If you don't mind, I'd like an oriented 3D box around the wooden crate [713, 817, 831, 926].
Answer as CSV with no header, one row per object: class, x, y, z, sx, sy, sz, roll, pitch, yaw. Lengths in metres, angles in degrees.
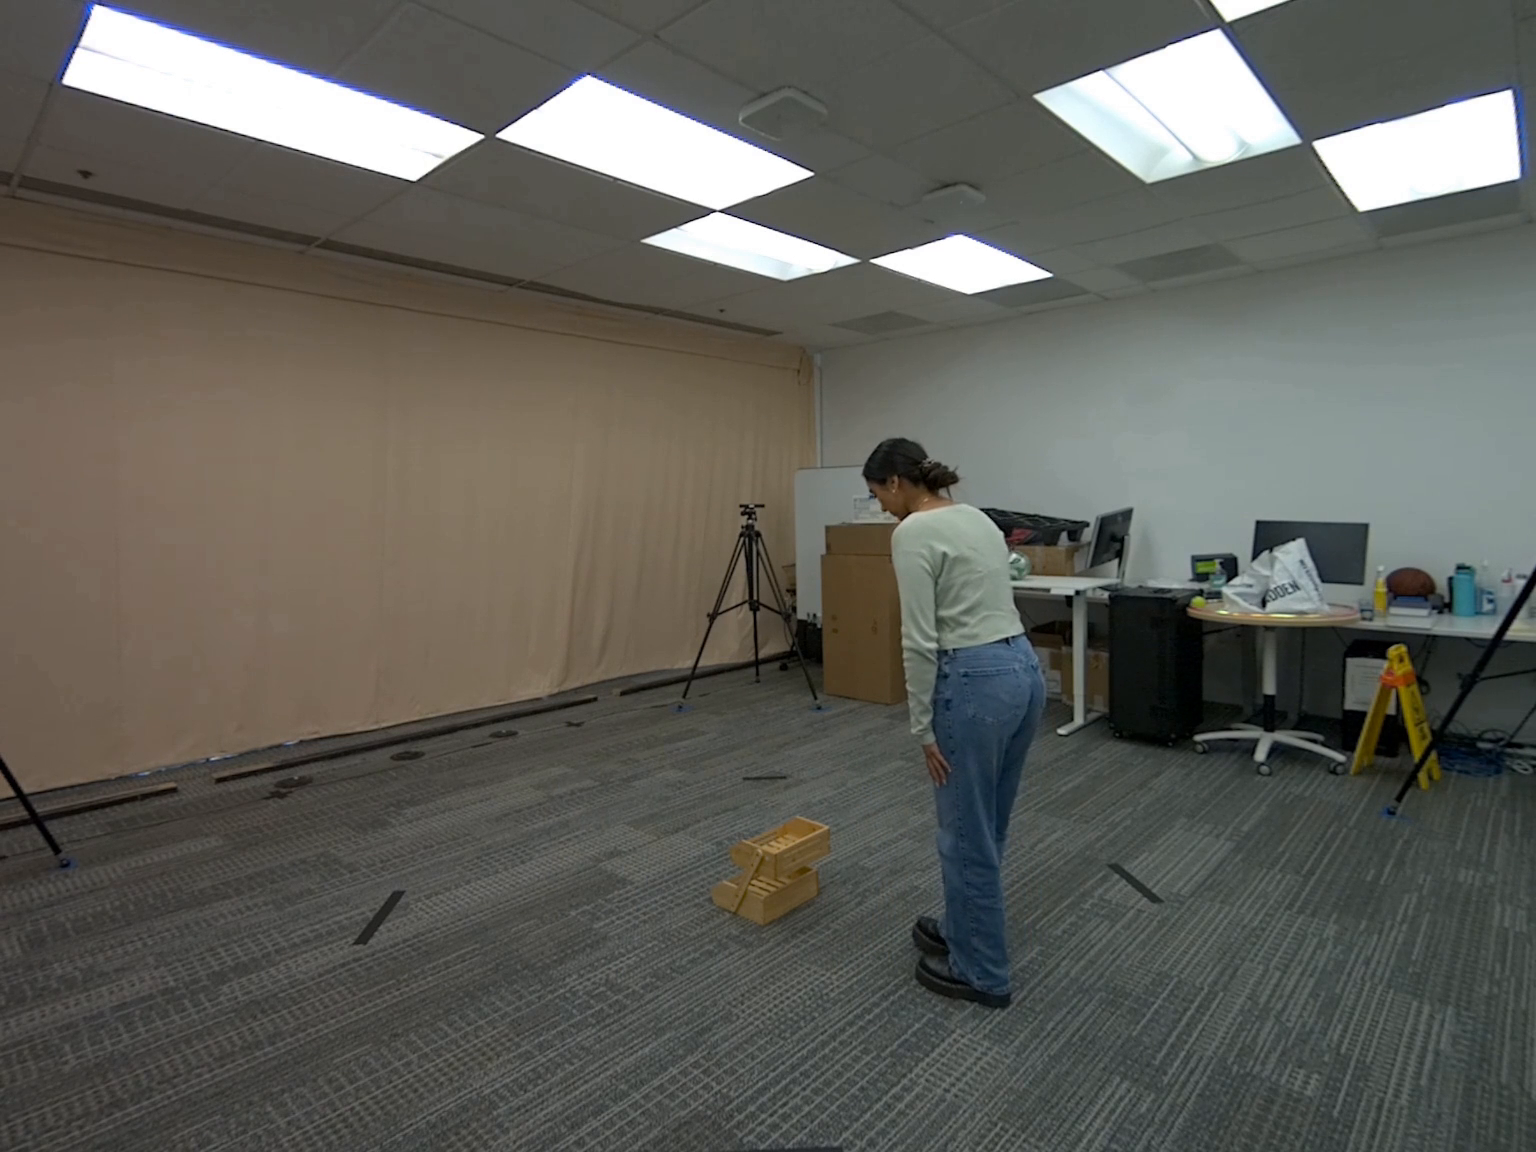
wooden crate,0.011,1.007,2.949,0.312,0.272,0.314,4,6,42
